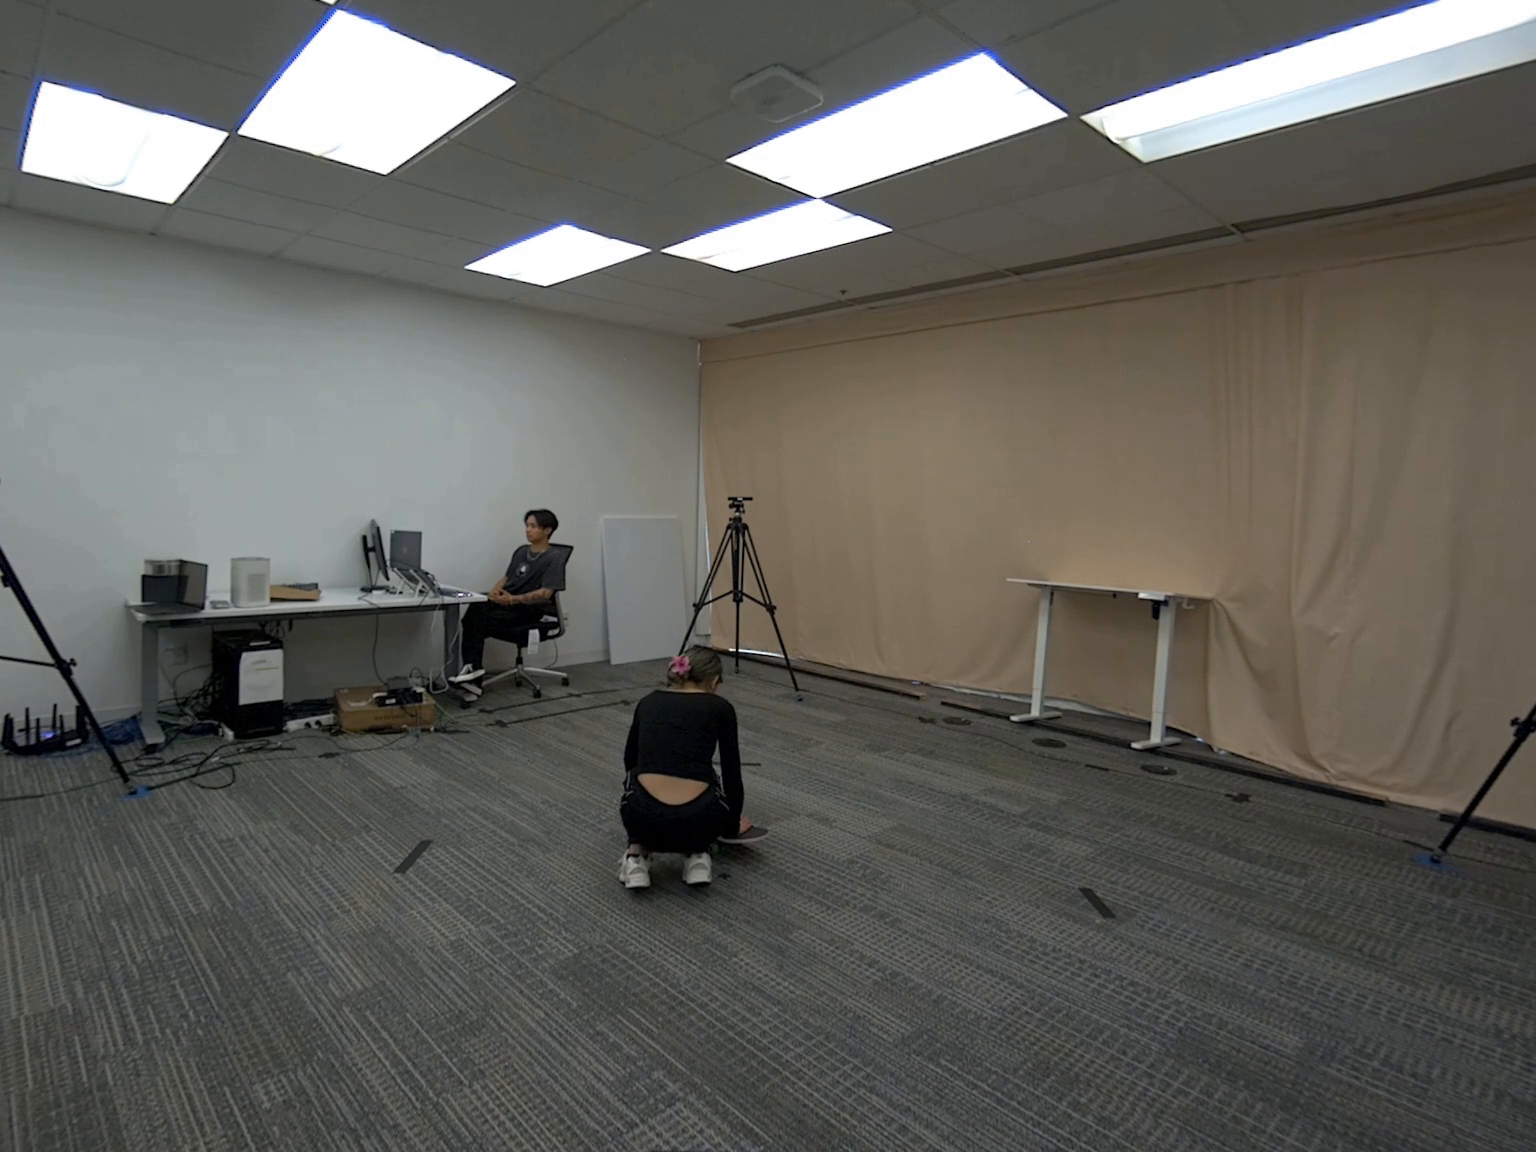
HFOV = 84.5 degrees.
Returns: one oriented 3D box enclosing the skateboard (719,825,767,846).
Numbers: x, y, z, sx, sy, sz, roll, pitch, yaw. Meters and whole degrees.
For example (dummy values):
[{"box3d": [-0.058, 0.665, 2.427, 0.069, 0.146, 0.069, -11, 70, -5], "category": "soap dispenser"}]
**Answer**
[{"box3d": [-0.323, 1.014, 3.478, 0.805, 0.110, 0.189, 6, 7, 42], "category": "skateboard"}]
